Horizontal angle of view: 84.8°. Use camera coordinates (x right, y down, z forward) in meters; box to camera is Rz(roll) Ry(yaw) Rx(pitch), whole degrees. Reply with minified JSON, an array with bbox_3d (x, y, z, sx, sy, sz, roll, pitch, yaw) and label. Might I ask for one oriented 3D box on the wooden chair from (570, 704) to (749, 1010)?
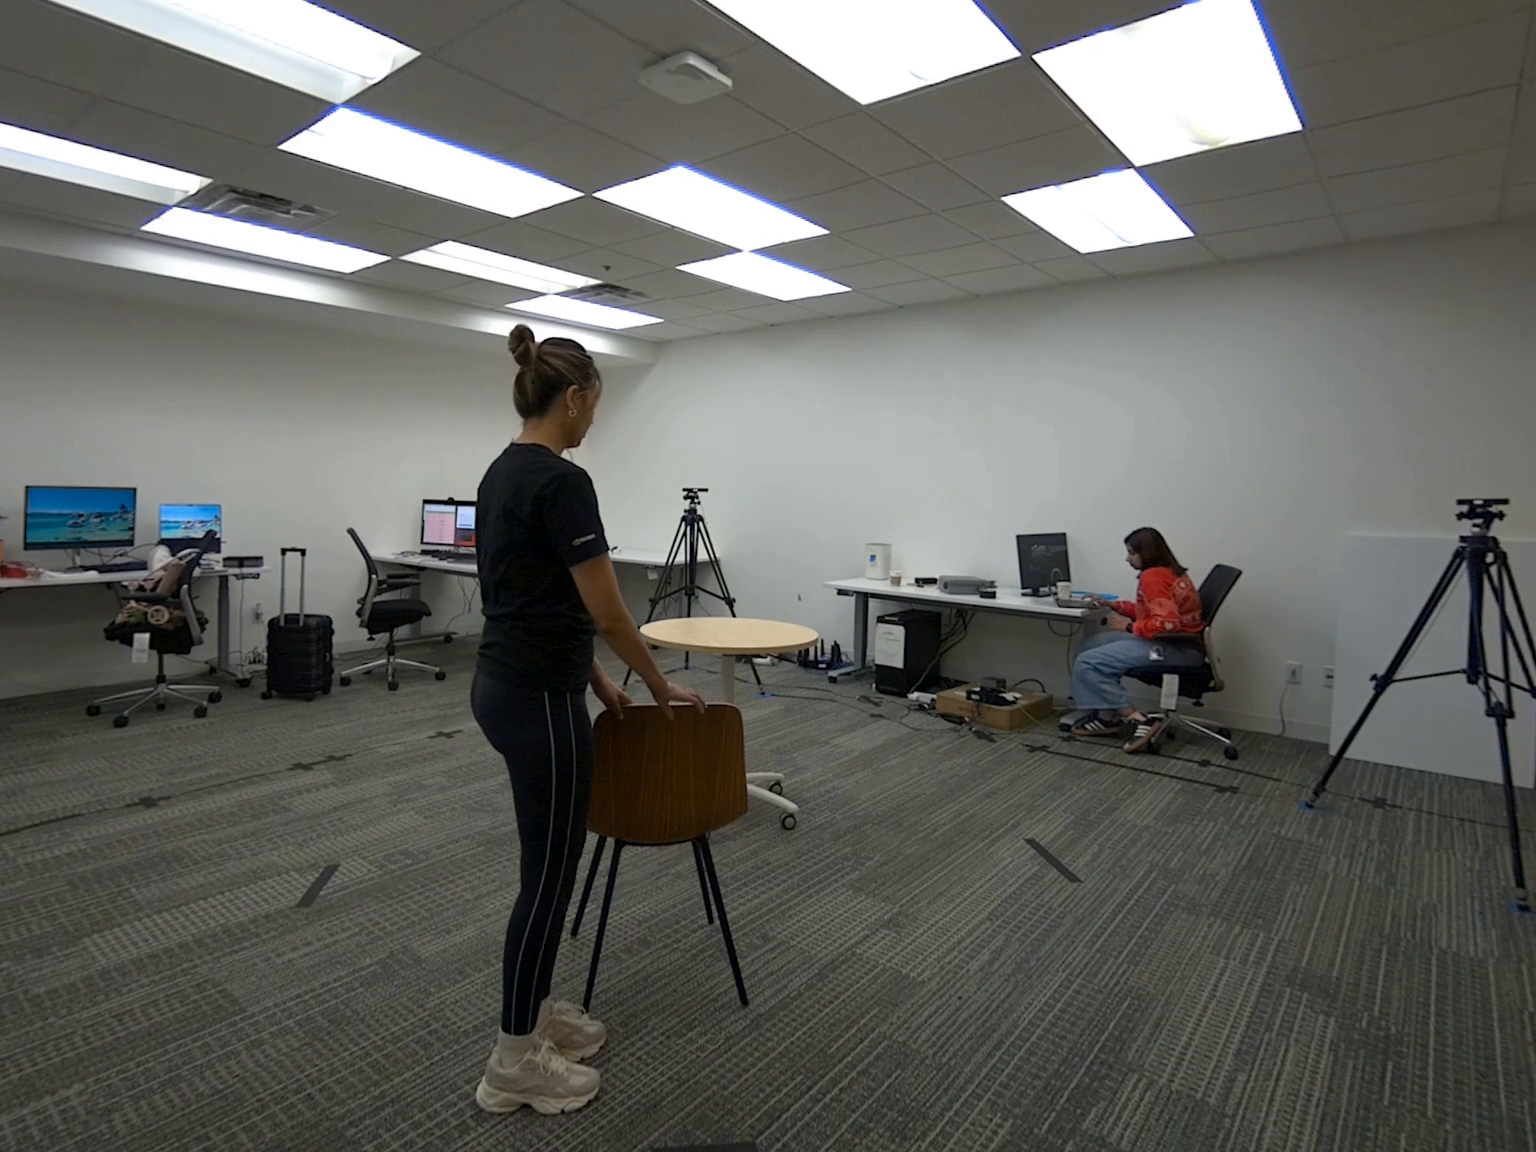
[{"bbox_3d":[-0.329,0.708,2.439,0.471,0.872,0.534,0,7,-15],"label":"wooden chair"}]
